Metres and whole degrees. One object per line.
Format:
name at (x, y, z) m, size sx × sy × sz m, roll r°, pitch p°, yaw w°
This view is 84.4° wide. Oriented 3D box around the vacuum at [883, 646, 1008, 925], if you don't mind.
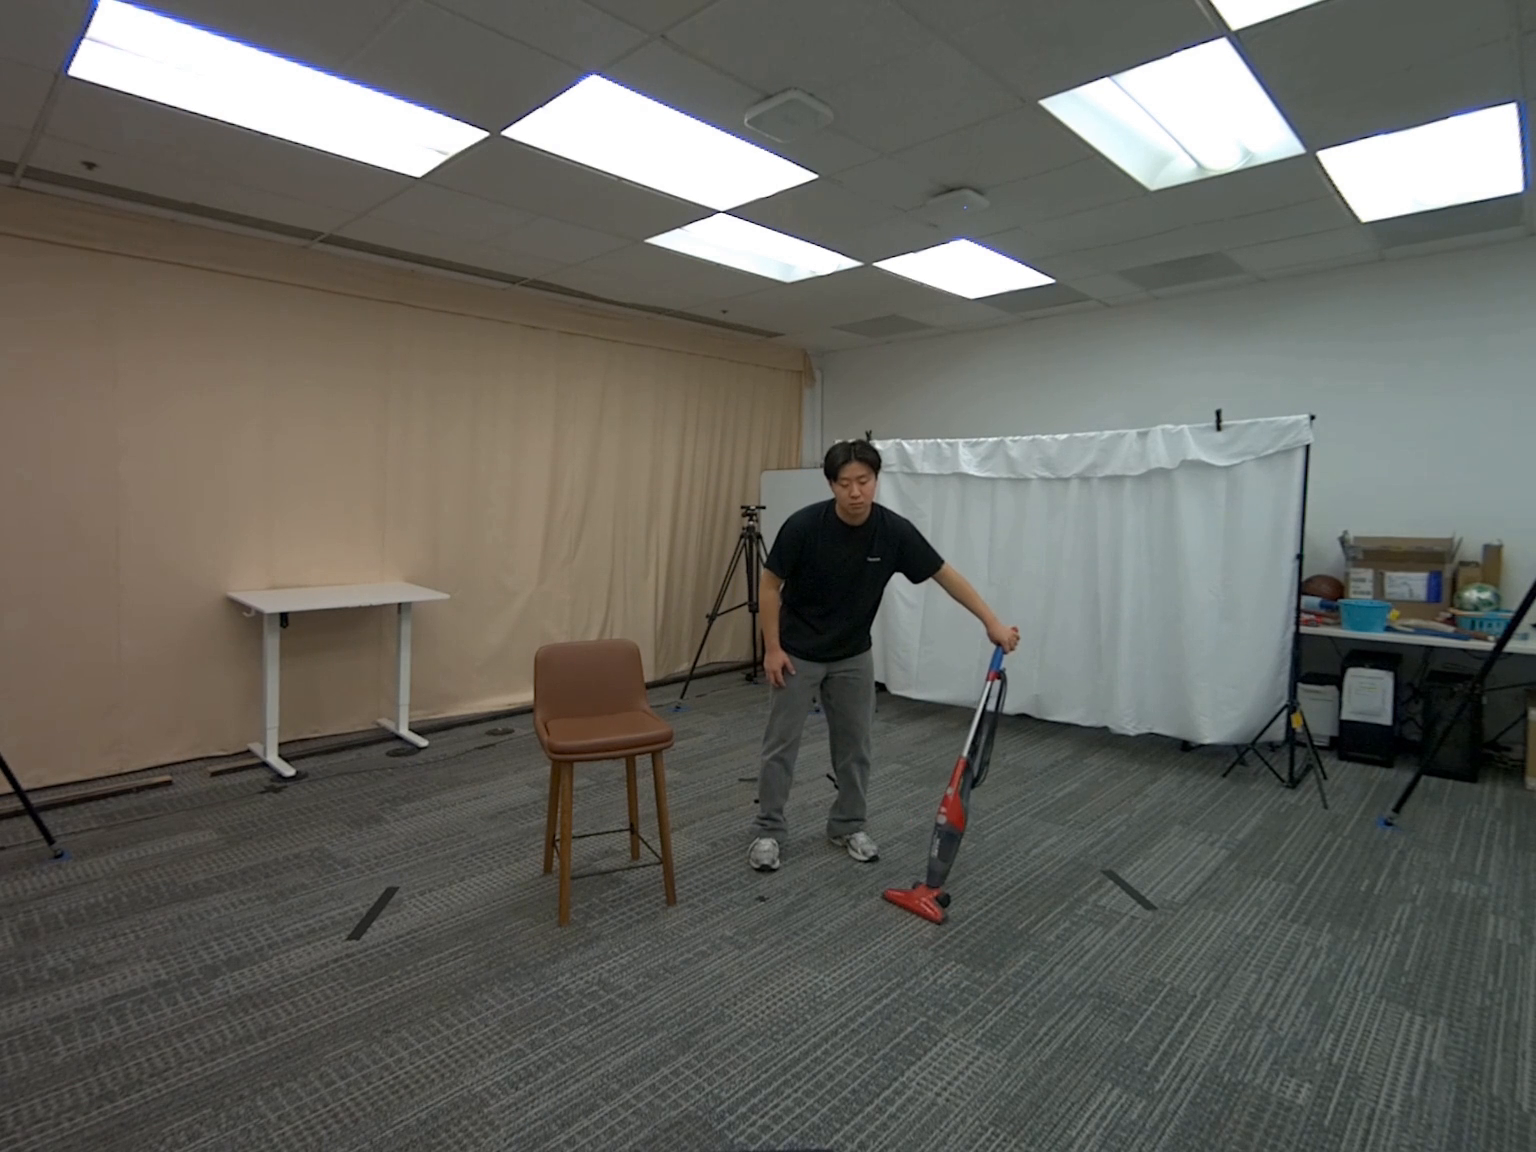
vacuum at (0.739, 0.678, 3.066) m, size 0.261 × 1.052 × 0.139 m, roll 4°, pitch -25°, yaw 45°
